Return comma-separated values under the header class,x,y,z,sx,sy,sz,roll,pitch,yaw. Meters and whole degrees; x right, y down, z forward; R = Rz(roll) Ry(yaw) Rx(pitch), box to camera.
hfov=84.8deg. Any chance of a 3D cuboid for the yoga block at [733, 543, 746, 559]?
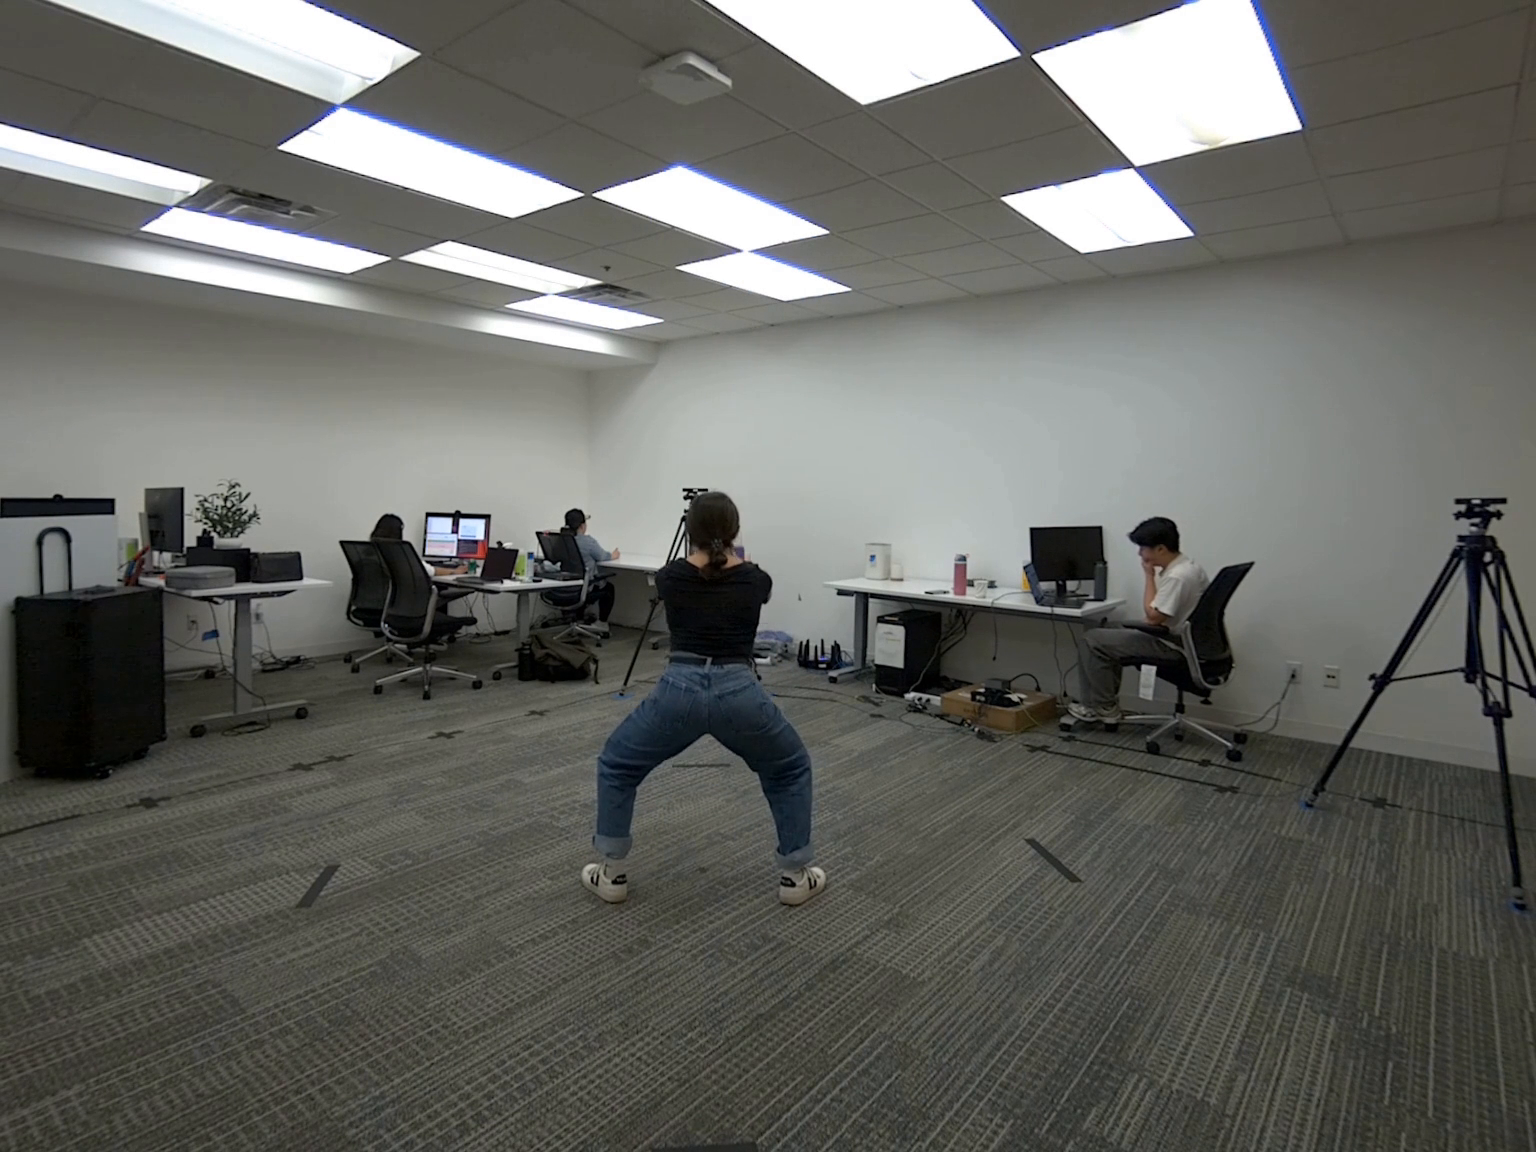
class,x,y,z,sx,sy,sz,roll,pitch,yaw
yoga block,-0.198,-0.033,3.509,0.229,0.145,0.078,-3,30,-1
